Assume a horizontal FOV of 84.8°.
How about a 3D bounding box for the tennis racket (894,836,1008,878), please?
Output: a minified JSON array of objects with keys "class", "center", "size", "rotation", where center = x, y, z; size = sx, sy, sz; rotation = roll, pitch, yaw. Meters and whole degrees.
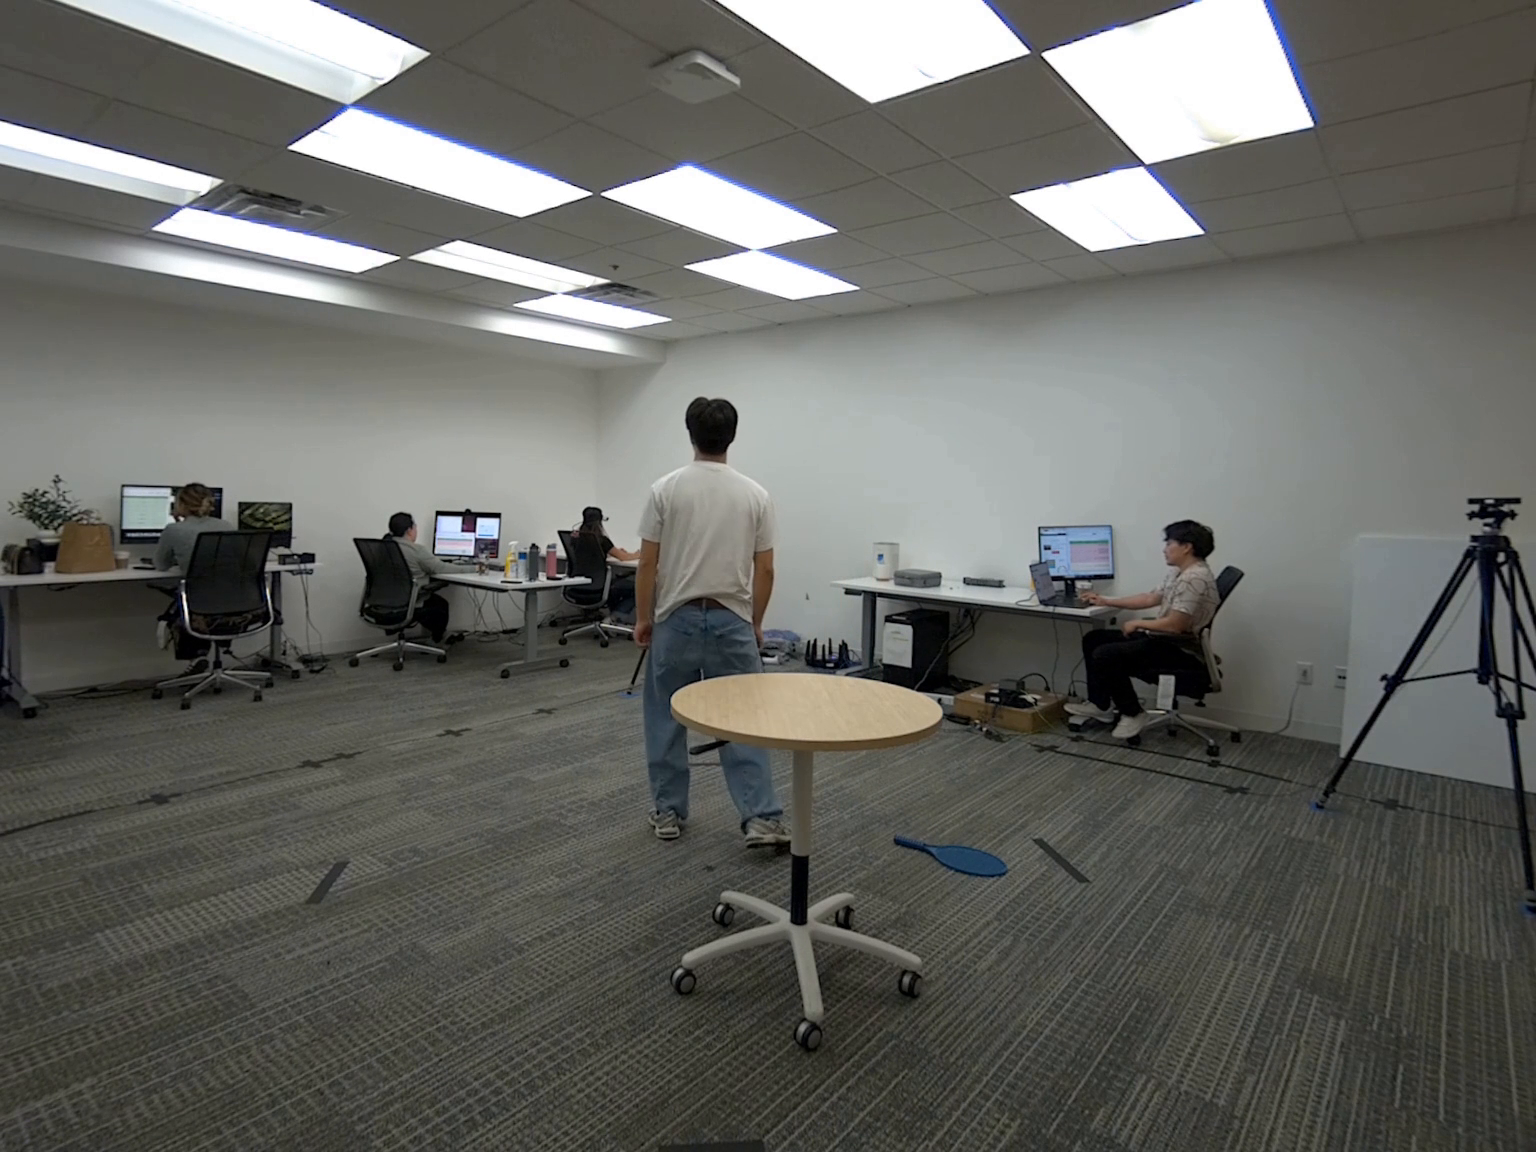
[{"class":"tennis racket","center":[0.682,1.058,3.259],"size":[0.447,0.031,0.208],"rotation":[7,8,33]}]
